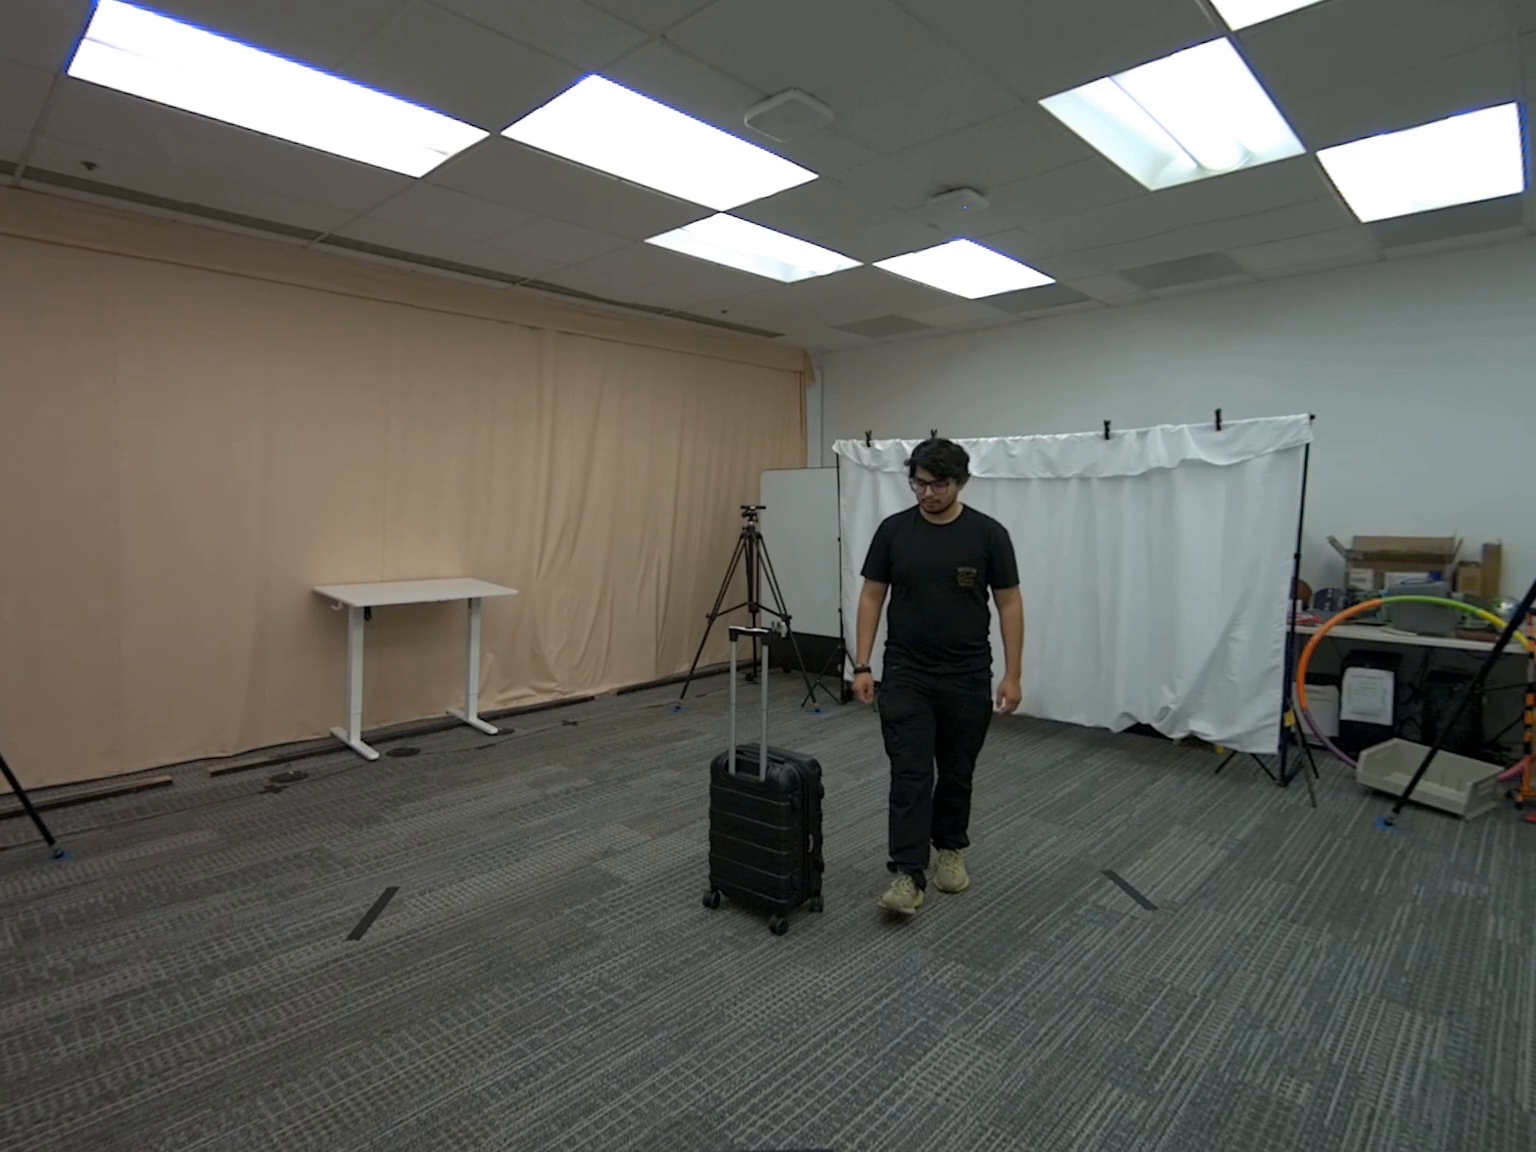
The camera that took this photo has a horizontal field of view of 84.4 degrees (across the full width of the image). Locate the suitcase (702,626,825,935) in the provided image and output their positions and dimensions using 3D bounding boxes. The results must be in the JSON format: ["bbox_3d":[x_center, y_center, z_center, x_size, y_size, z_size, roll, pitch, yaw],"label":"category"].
[{"bbox_3d":[-0.008,0.672,2.911,0.396,0.978,0.249,2,2,36],"label":"suitcase"}]
